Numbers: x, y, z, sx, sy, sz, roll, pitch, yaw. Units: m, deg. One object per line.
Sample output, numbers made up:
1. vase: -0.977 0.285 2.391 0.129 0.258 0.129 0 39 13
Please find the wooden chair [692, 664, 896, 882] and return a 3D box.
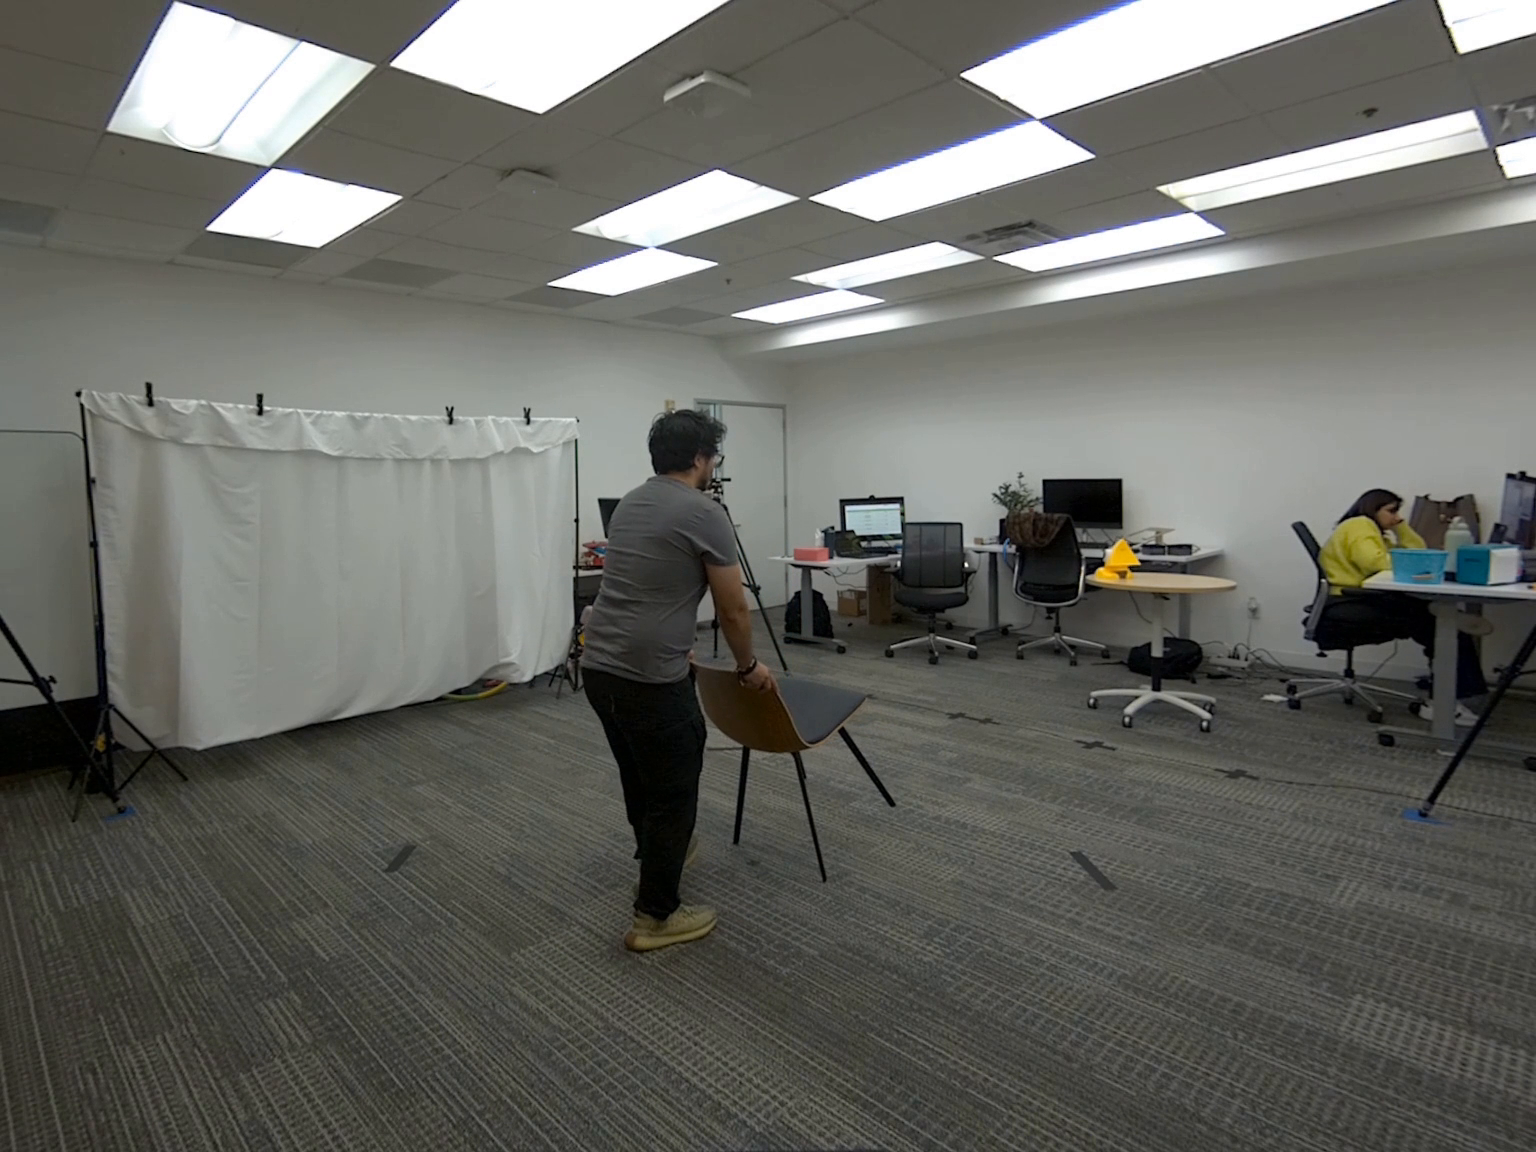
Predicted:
1. wooden chair: 0.079 0.554 3.131 0.493 0.858 0.519 3 29 45
